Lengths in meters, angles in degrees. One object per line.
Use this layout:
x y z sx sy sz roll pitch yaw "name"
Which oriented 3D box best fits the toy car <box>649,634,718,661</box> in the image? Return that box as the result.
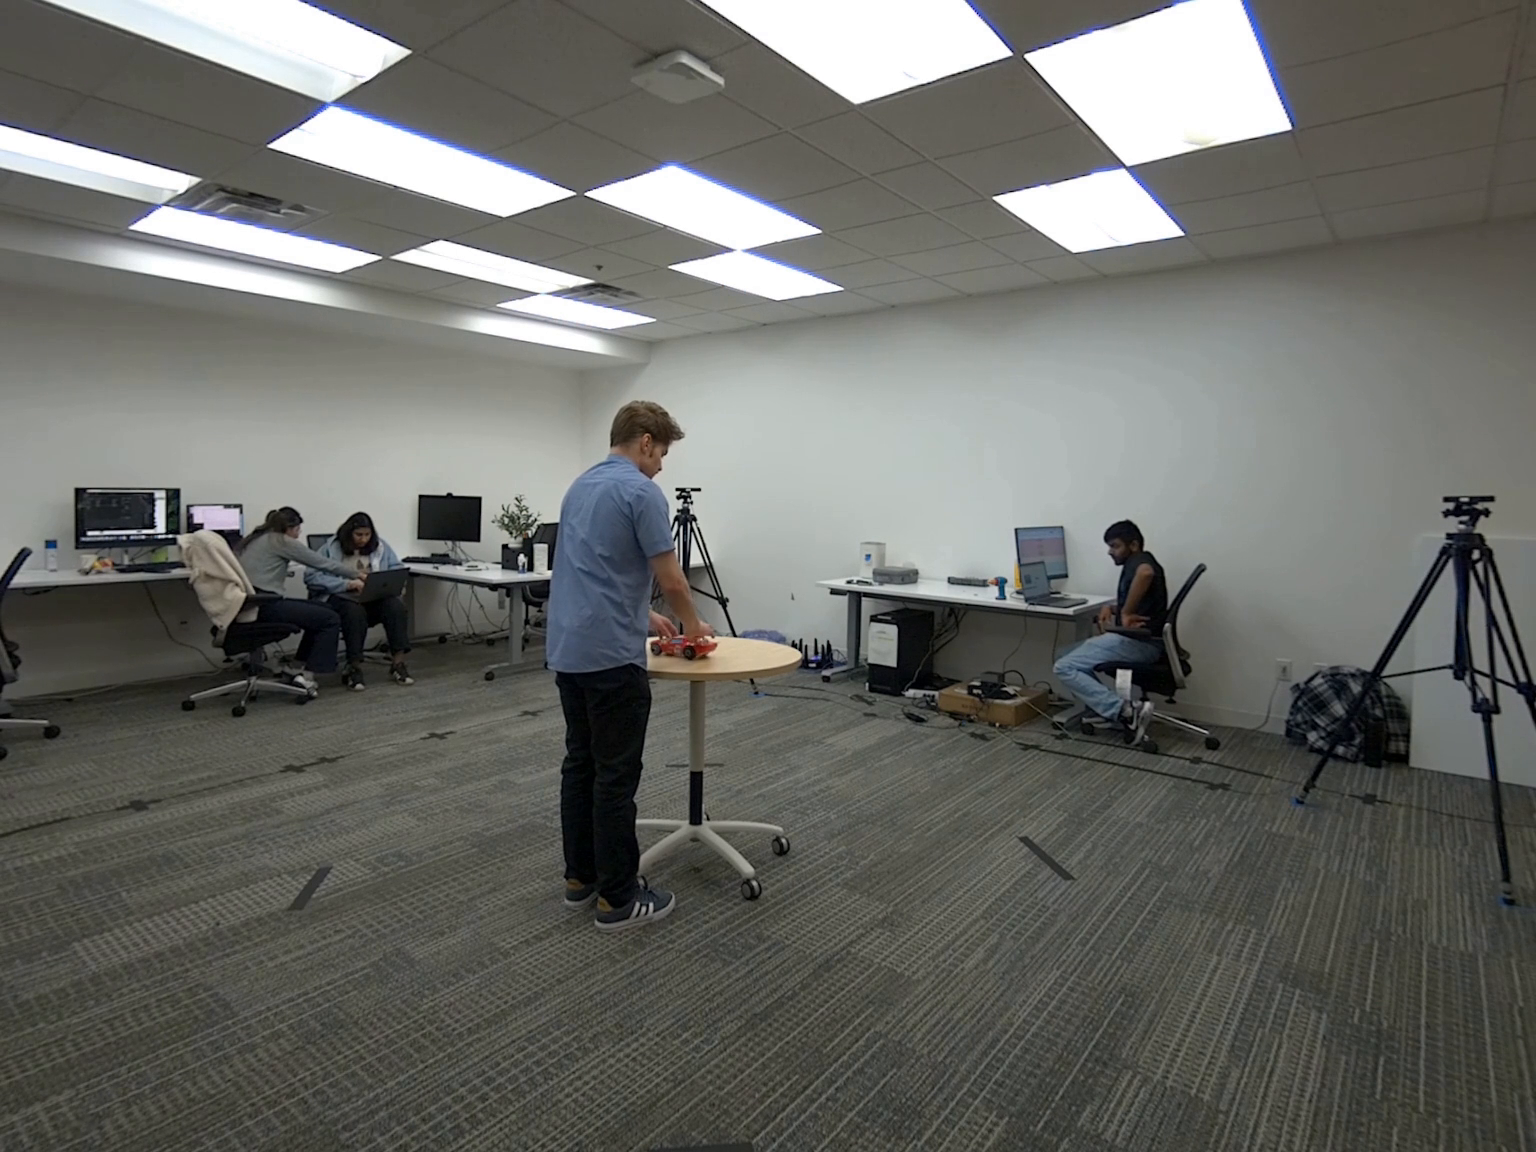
-0.306 0.257 3.072 0.260 0.083 0.127 -9 -2 30 "toy car"
